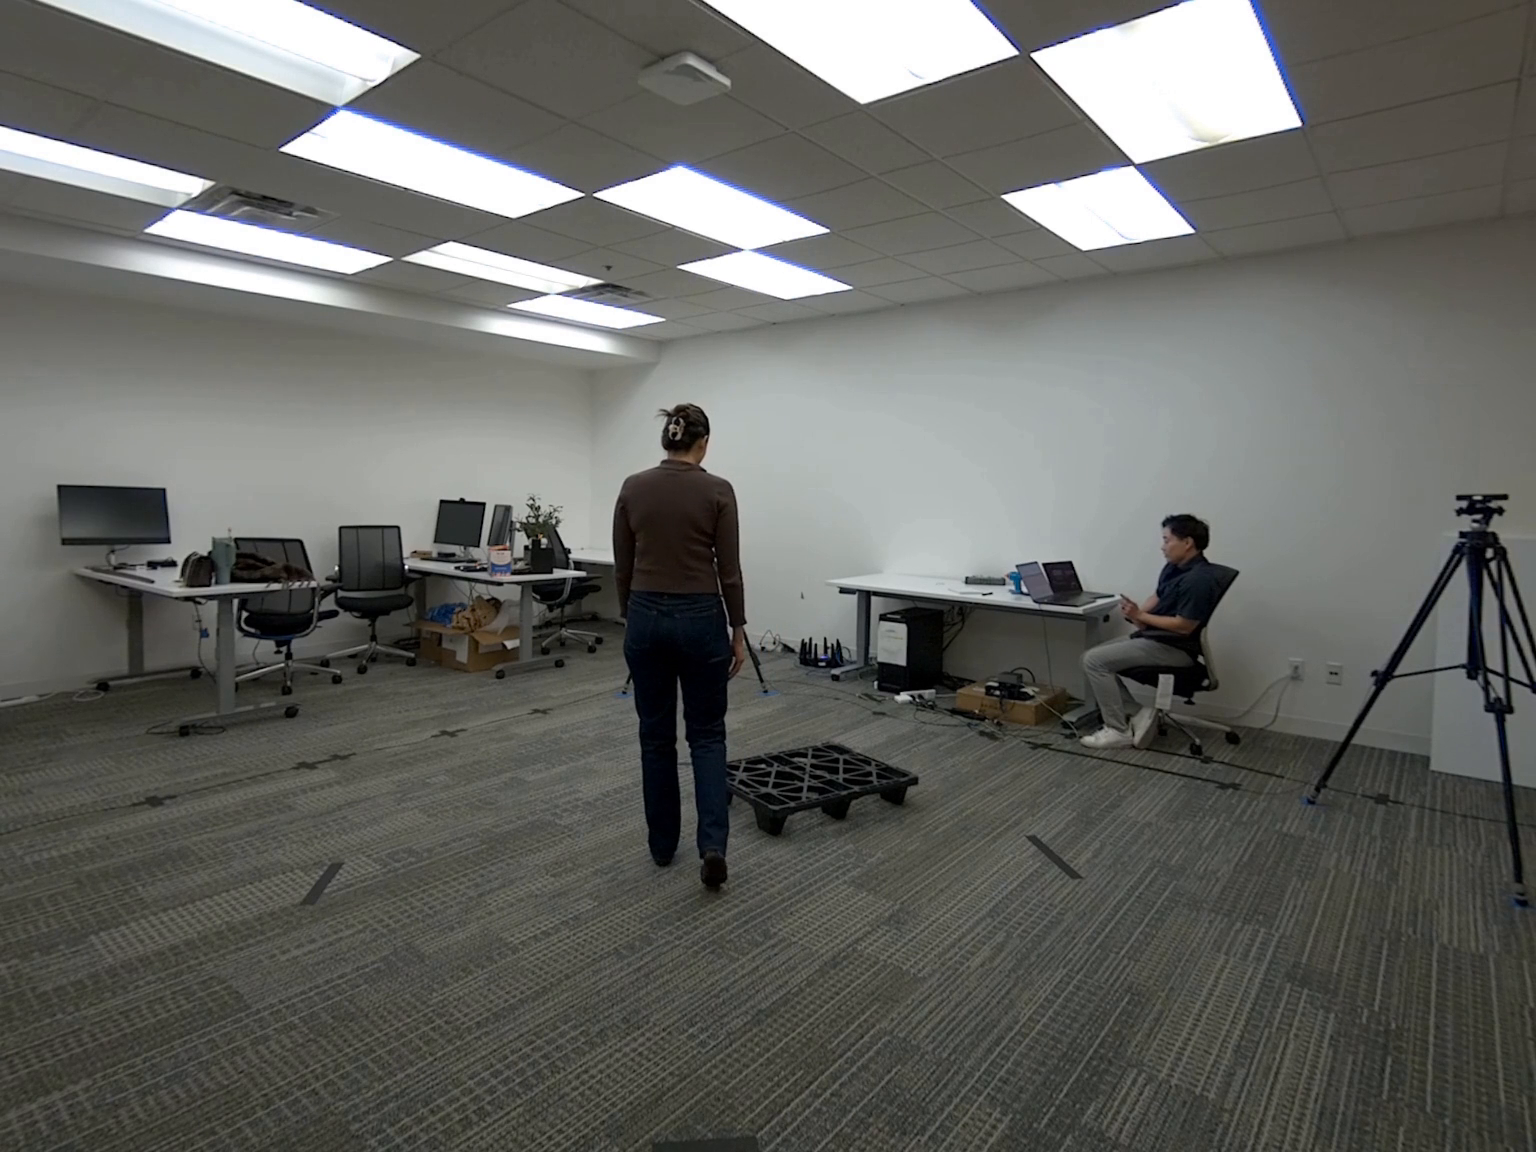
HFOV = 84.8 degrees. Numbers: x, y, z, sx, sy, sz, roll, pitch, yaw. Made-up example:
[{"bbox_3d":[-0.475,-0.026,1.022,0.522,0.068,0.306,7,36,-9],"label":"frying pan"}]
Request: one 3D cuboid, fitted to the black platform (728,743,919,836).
[{"bbox_3d":[0.160,0.935,3.803,0.783,0.143,0.625,-2,6,-34],"label":"black platform"}]
